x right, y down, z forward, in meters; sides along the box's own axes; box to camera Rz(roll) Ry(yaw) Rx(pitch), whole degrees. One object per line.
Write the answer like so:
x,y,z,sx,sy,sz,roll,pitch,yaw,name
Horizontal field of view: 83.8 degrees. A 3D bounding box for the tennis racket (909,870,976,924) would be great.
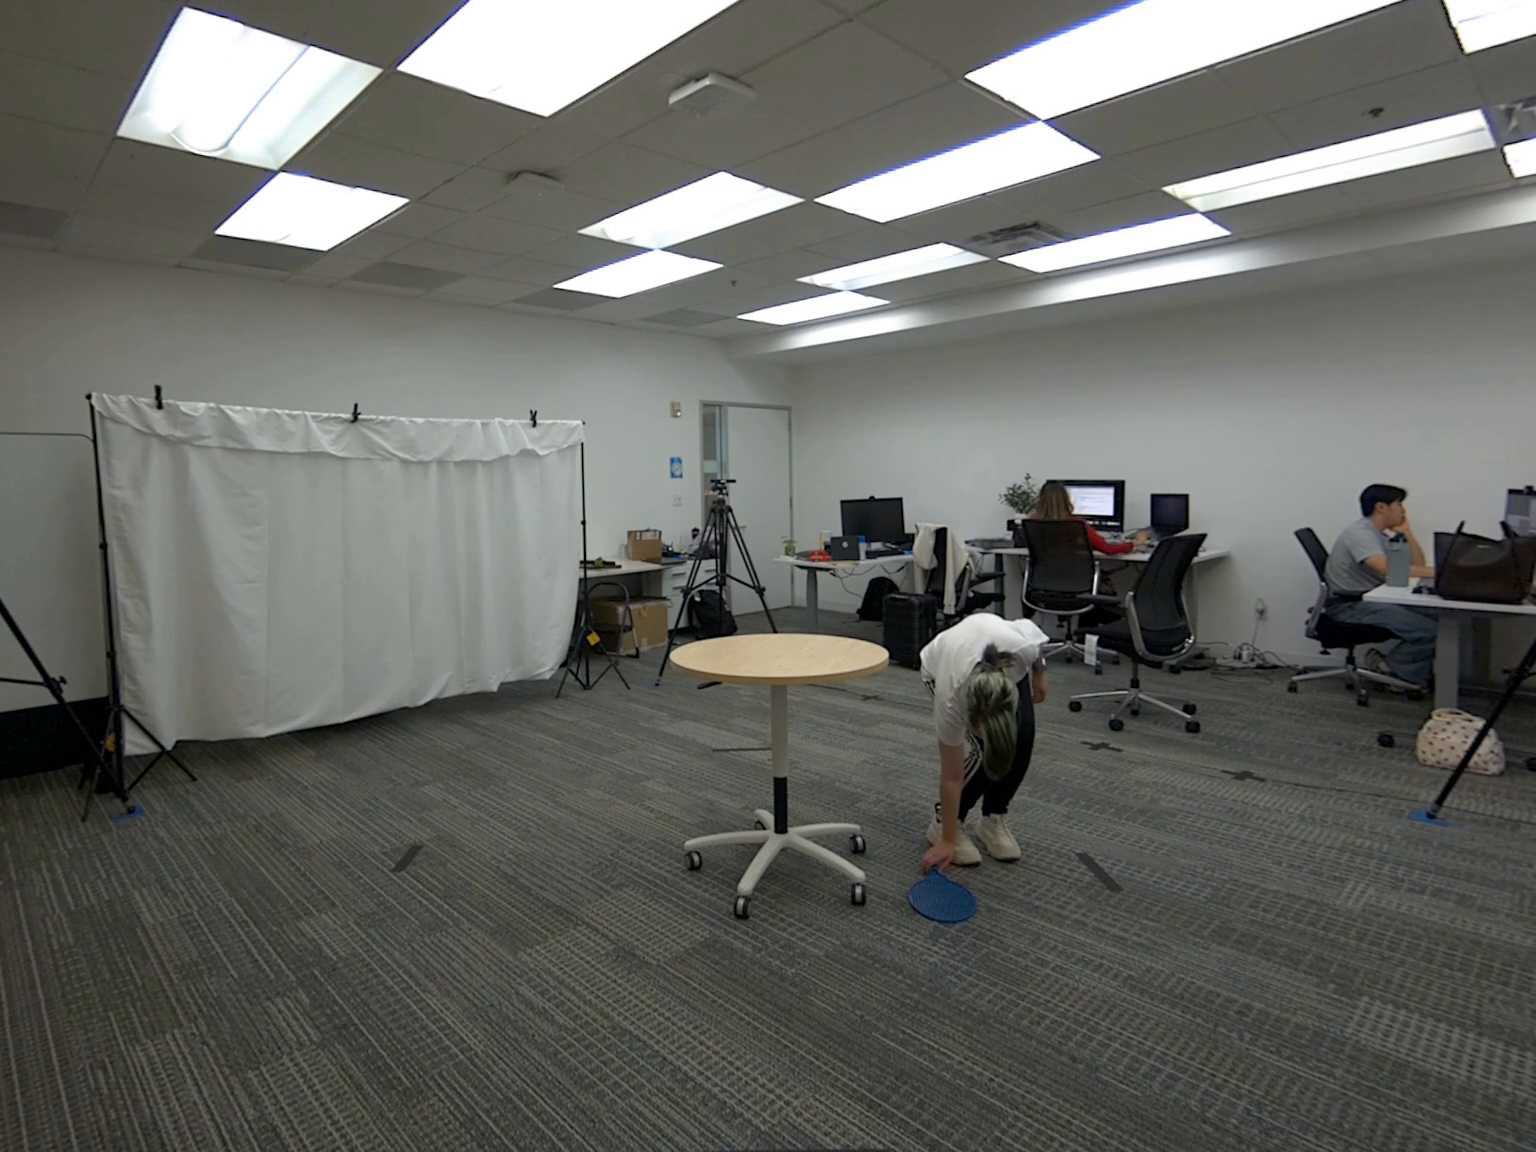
0.573,1.044,2.882,0.214,0.031,0.434,-1,8,3,tennis racket
